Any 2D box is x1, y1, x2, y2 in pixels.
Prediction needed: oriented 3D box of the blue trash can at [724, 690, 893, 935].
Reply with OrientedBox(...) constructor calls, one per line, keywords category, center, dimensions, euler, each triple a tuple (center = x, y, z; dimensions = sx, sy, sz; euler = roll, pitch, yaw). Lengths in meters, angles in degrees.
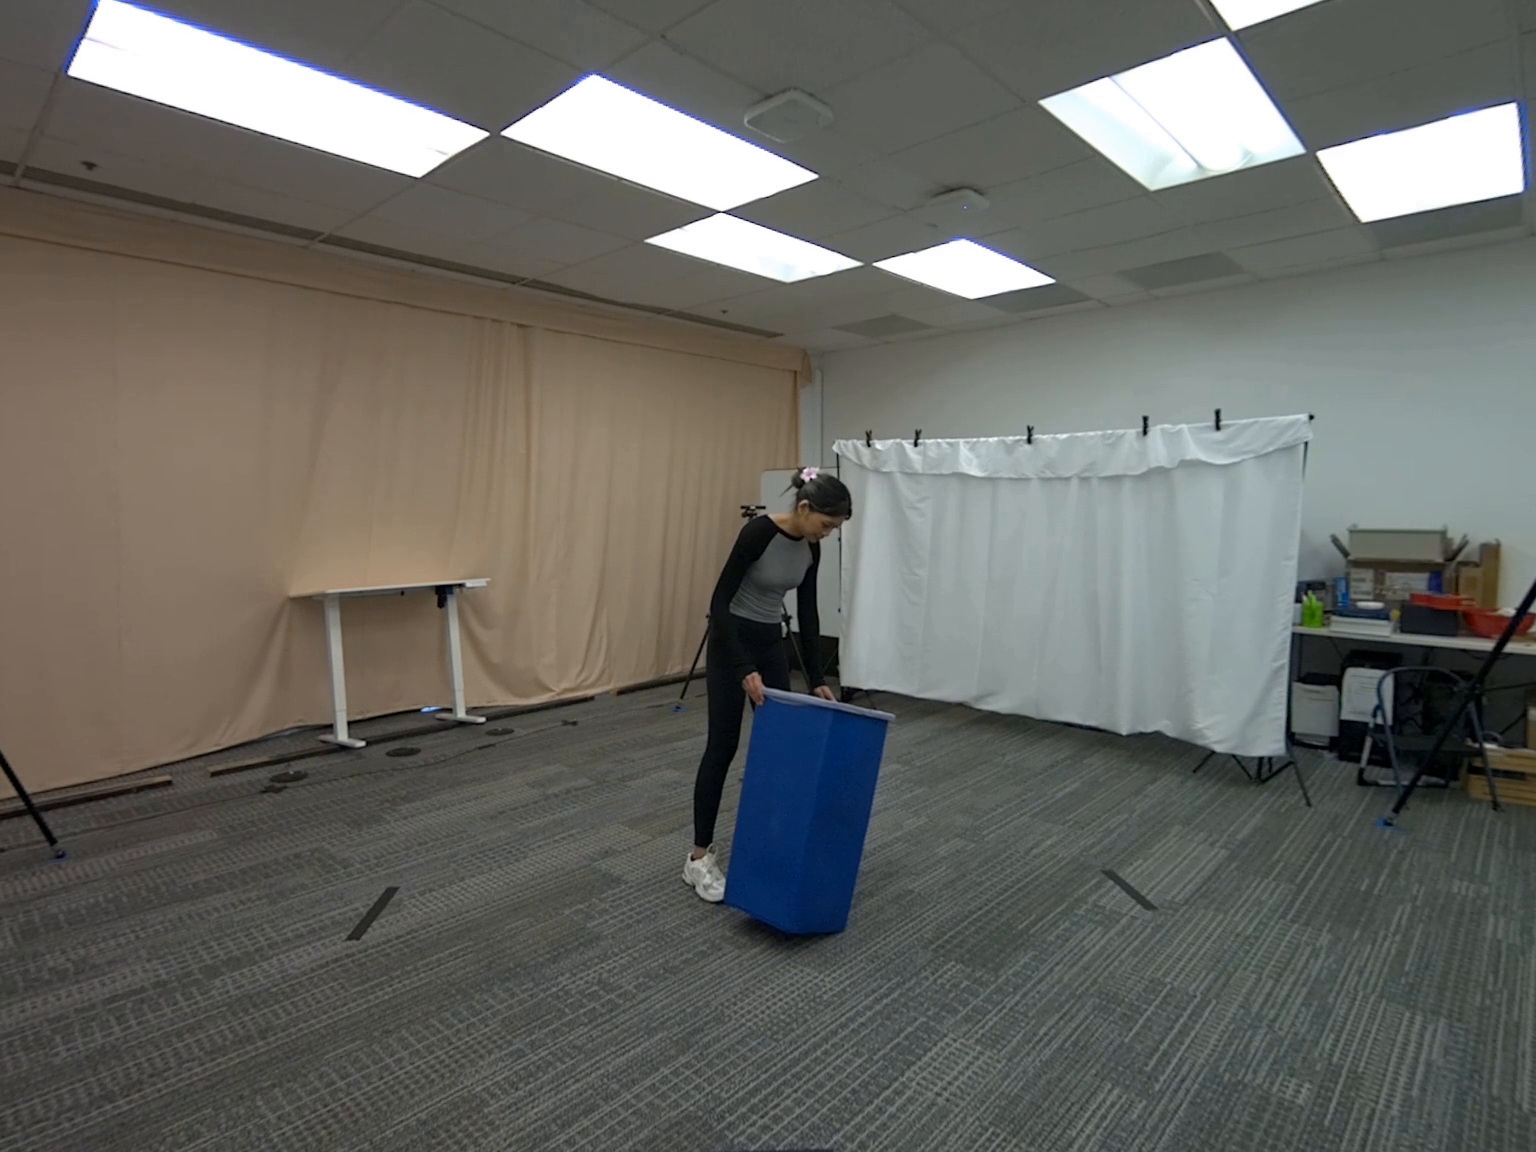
OrientedBox(category="blue trash can", center=(0.128, 0.769, 2.822), dimensions=(0.390, 0.716, 0.360), euler=(2, -13, 45))
